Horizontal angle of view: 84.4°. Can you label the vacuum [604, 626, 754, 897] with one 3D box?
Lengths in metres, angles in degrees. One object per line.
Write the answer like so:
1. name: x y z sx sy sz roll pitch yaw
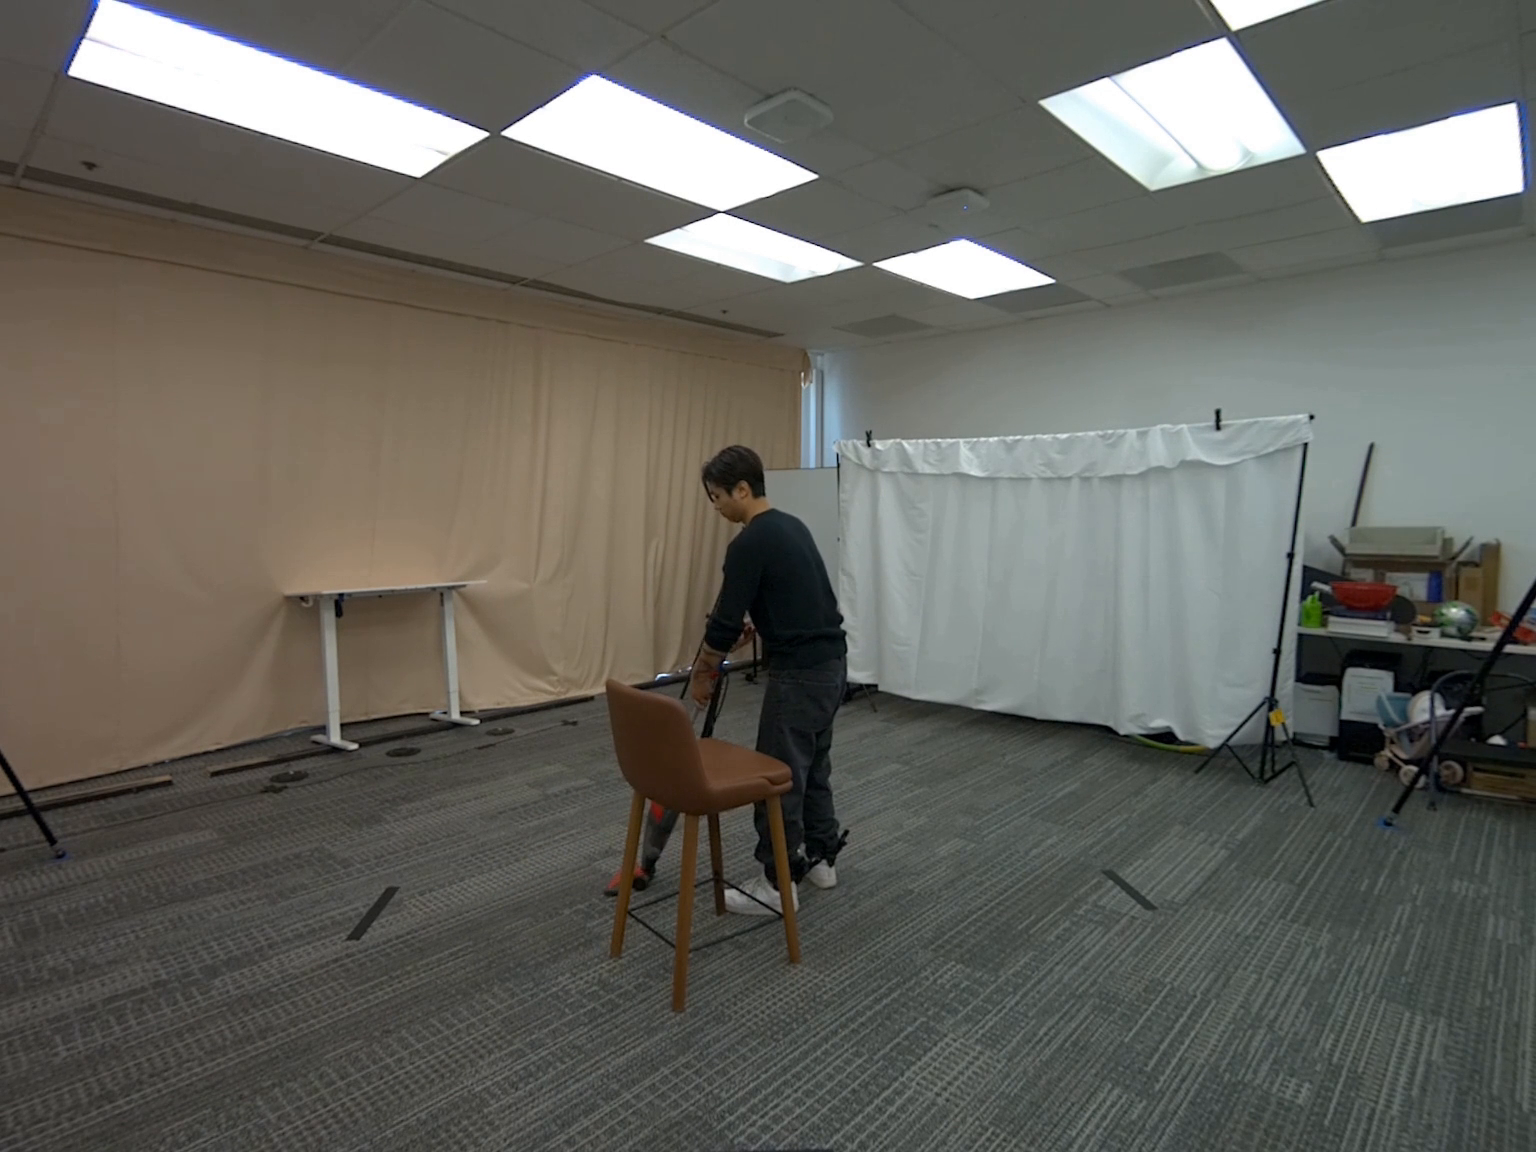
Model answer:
1. vacuum: -0.290 0.671 3.057 0.145 1.048 0.251 25 7 3
